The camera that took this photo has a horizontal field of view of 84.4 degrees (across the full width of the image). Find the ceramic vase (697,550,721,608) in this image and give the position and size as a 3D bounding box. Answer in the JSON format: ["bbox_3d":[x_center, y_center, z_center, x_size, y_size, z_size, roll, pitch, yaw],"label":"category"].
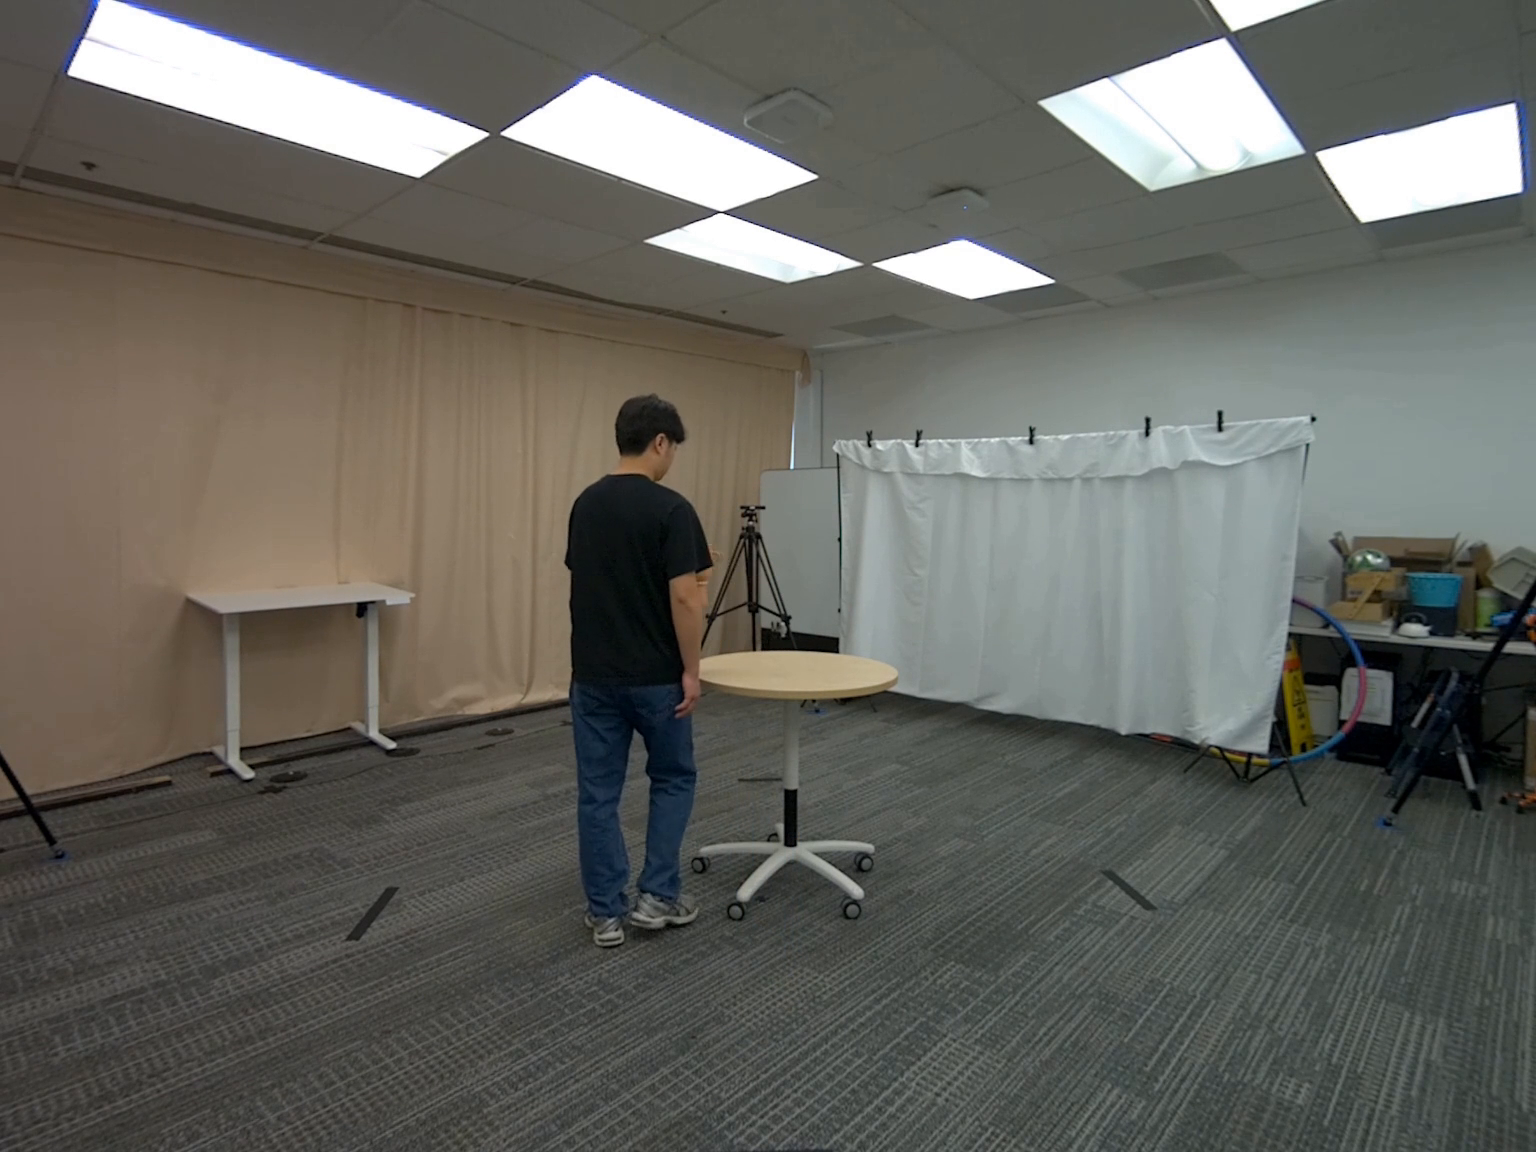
[{"bbox_3d":[-0.266,-0.003,3.007,0.164,0.220,0.130,1,1,43],"label":"ceramic vase"}]
